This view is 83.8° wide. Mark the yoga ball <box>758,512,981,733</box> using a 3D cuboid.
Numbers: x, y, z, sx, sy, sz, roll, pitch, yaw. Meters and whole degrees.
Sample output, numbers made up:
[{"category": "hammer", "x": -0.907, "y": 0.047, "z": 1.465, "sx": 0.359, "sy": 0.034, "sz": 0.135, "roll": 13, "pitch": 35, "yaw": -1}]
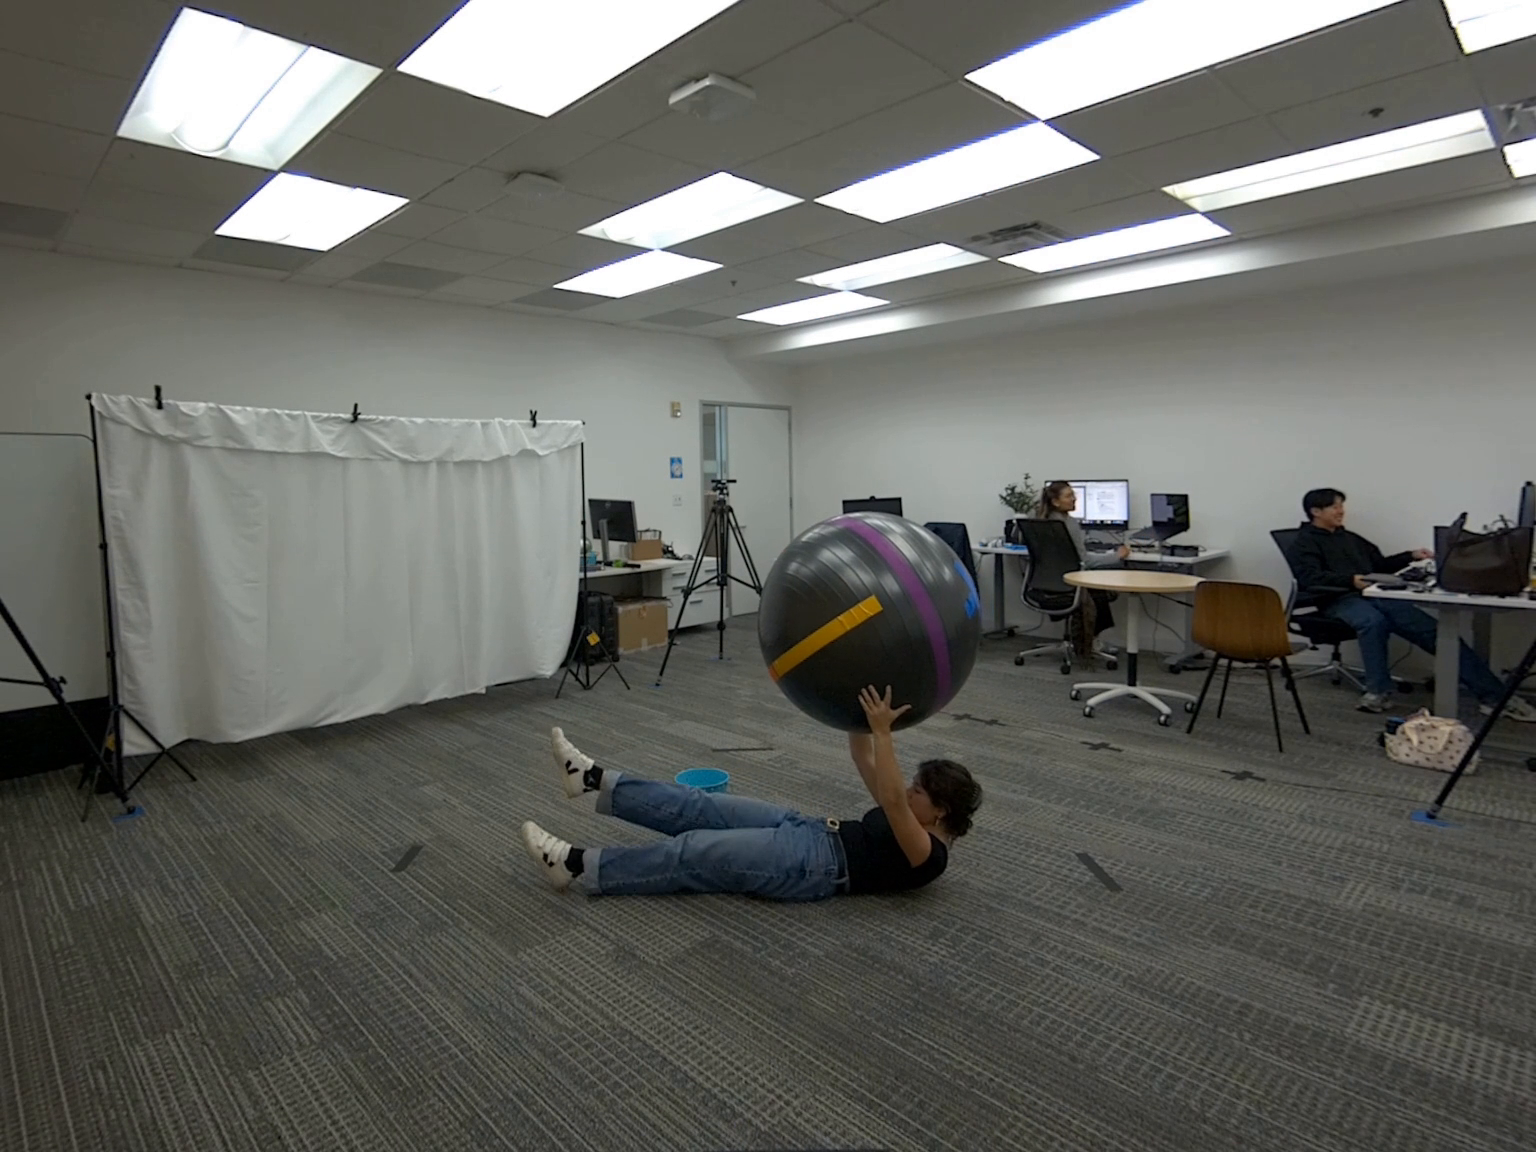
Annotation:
[{"category": "yoga ball", "x": 0.342, "y": 0.160, "z": 2.946, "sx": 0.757, "sy": 0.755, "sz": 0.762, "roll": -1, "pitch": 5, "yaw": -2}]
